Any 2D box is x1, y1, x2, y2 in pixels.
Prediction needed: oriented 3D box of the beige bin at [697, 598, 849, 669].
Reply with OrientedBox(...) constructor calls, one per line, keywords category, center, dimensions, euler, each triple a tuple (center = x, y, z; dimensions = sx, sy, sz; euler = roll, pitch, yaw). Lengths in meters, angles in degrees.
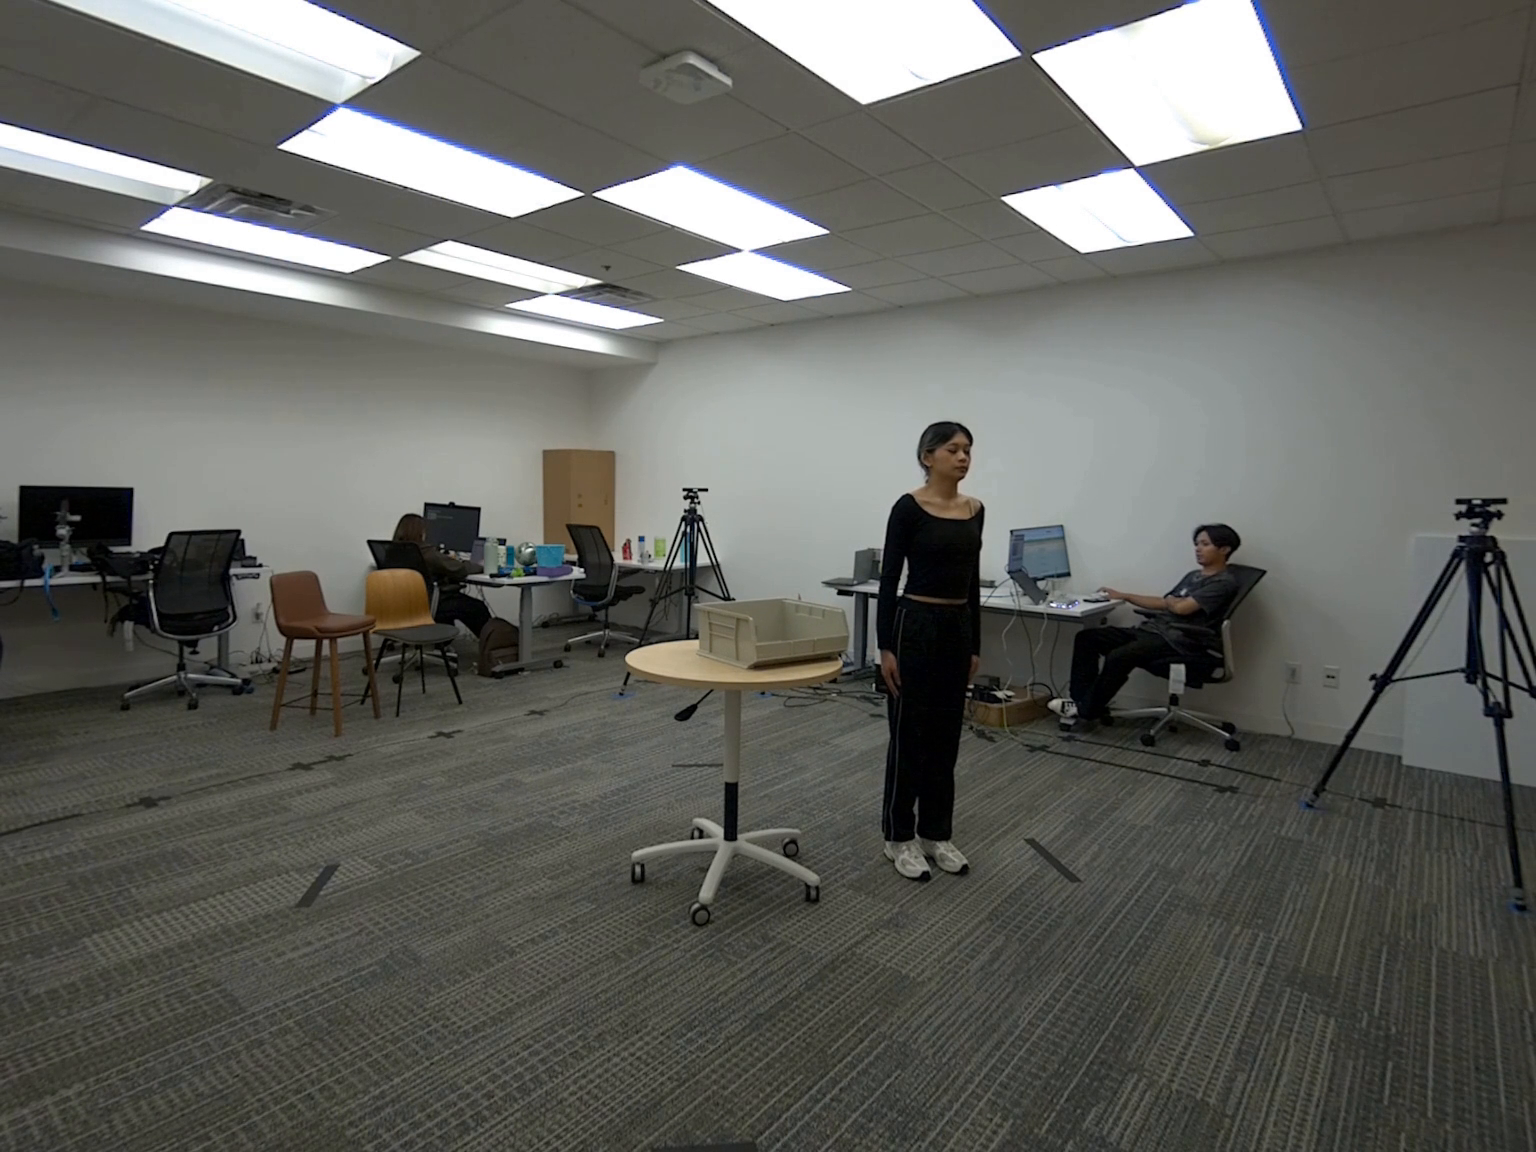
OrientedBox(category="beige bin", center=(0.000, 0.198, 3.040), dimensions=(0.410, 0.188, 0.389), euler=(-3, 6, -35))
